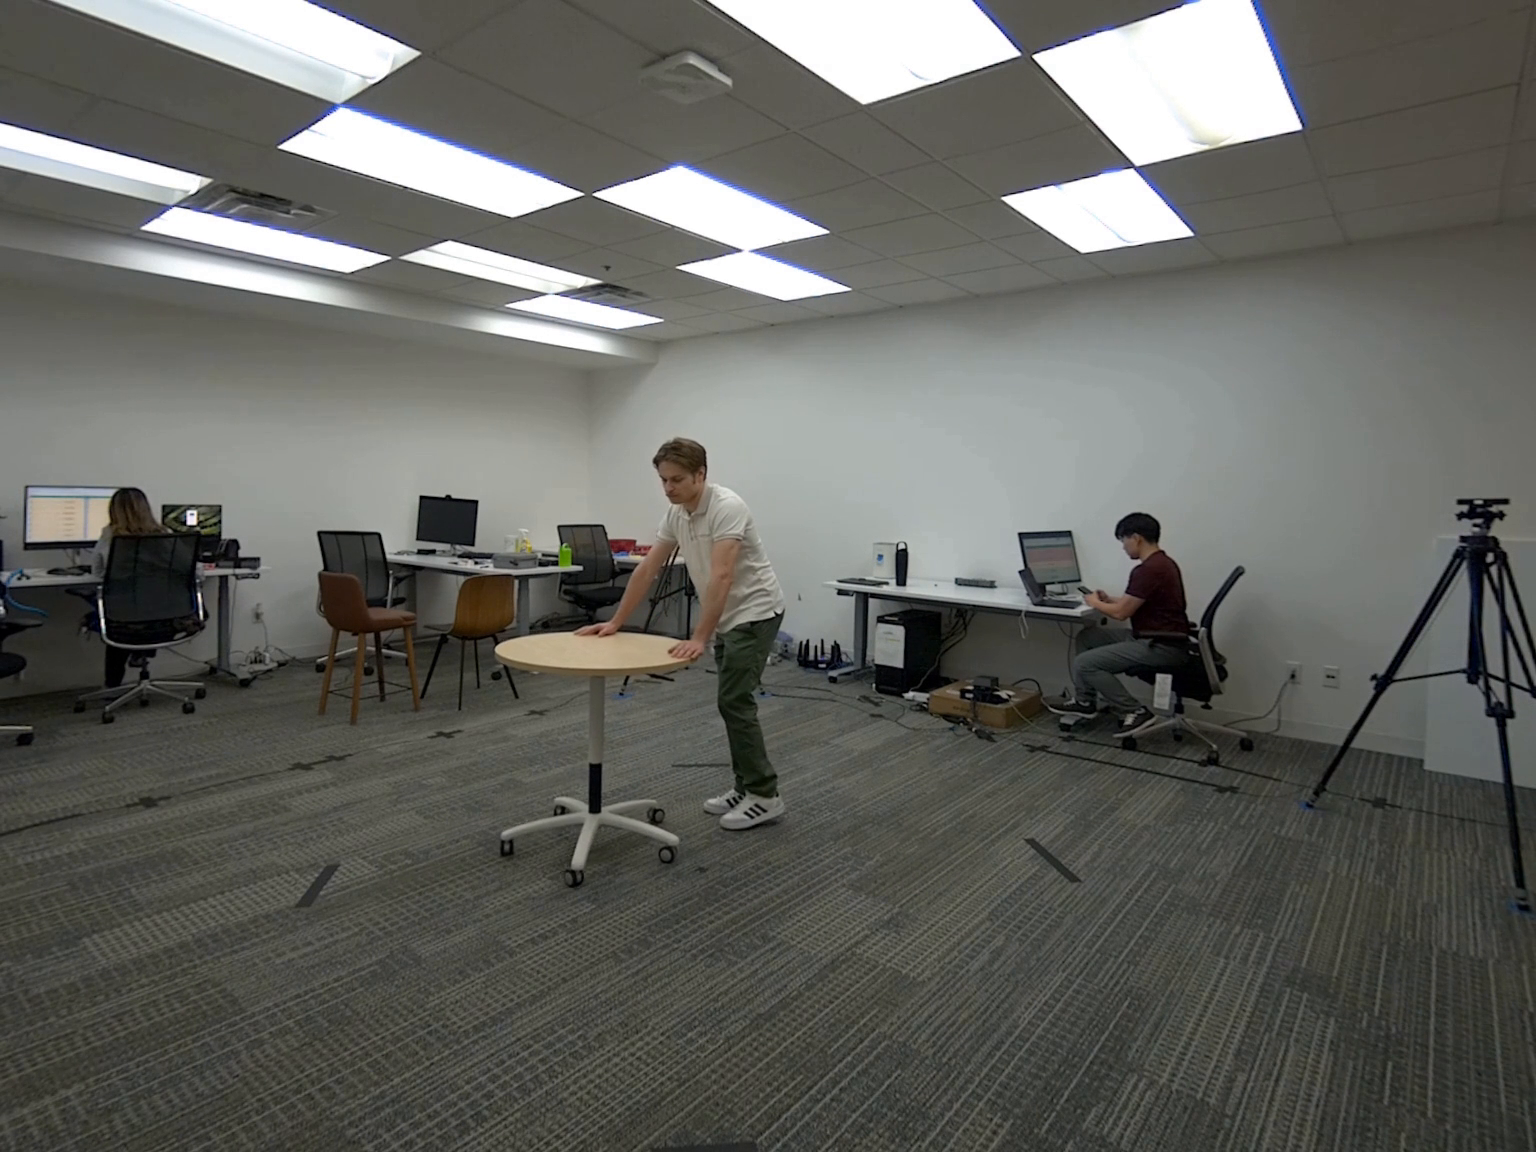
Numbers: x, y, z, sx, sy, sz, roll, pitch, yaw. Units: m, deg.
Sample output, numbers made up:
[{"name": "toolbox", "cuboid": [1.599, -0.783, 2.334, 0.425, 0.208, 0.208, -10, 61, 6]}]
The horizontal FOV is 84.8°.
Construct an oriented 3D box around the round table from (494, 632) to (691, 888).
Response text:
[{"name": "round table", "cuboid": [-0.672, 0.662, 3.263, 0.763, 0.792, 0.767, 1, 4, -2]}]
